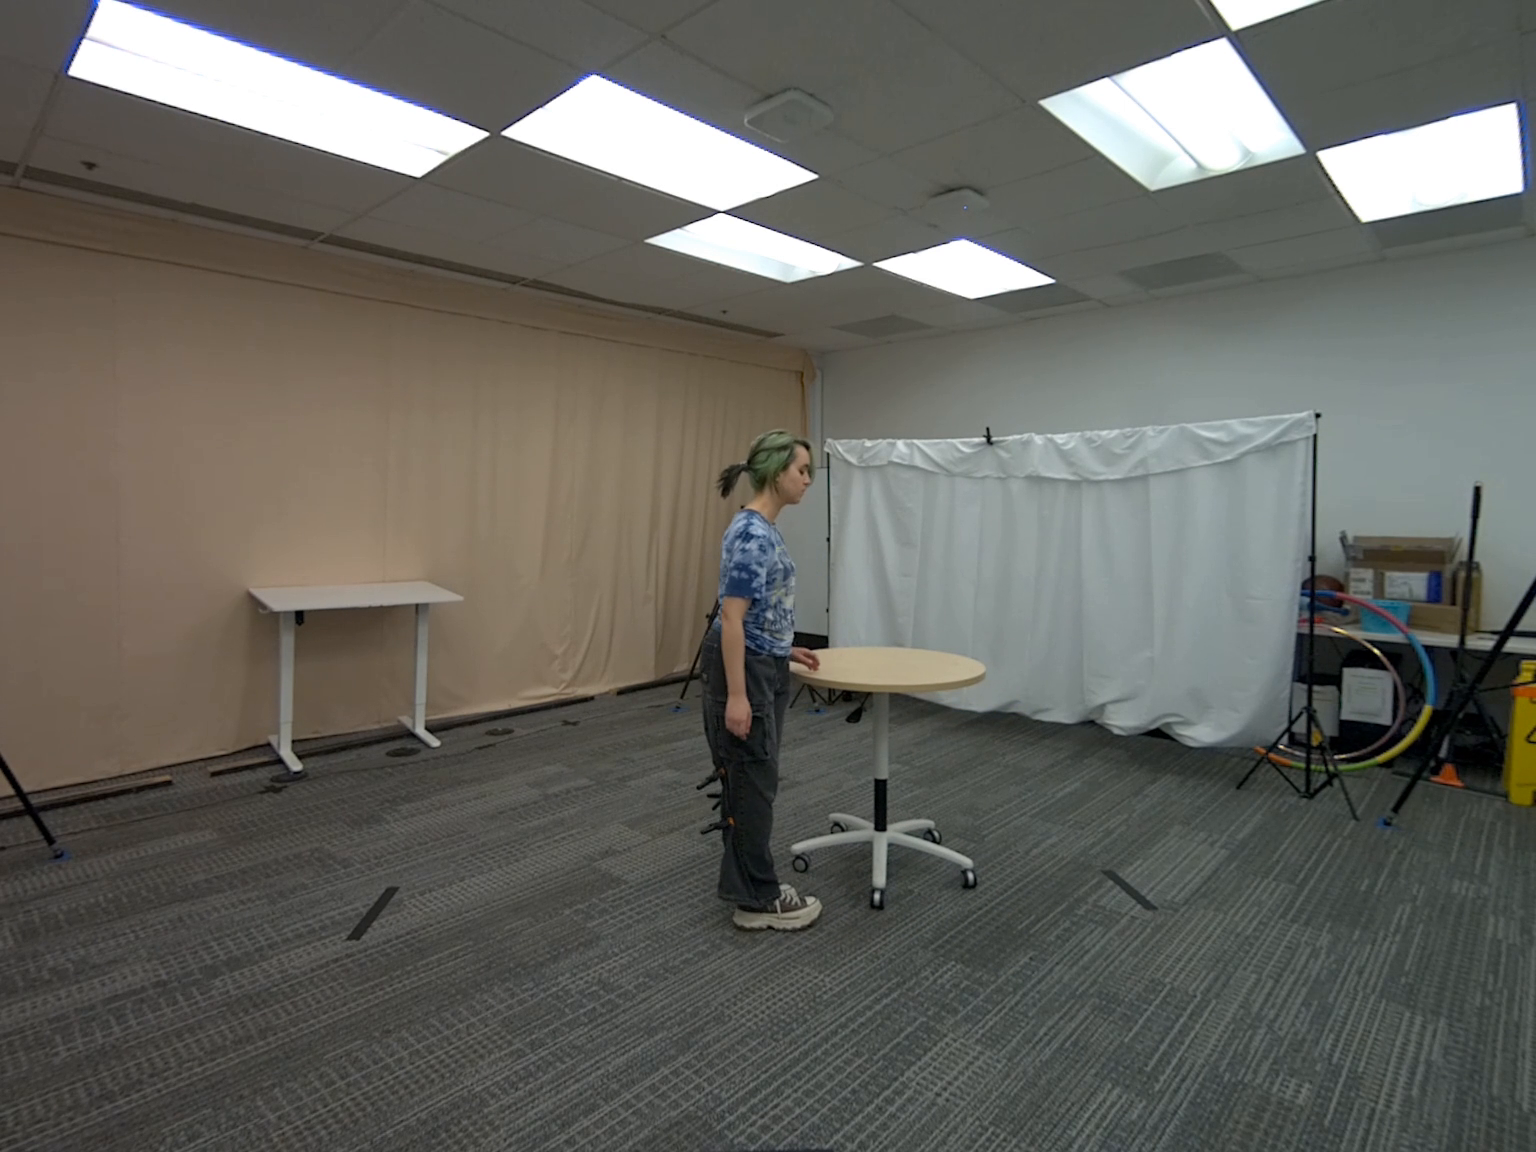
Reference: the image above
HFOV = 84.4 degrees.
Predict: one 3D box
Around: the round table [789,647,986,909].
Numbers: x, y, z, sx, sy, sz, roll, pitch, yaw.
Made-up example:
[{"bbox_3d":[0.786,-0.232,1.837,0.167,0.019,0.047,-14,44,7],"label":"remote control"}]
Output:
[{"bbox_3d":[0.436,0.730,3.236,0.763,0.792,0.766,0,3,-2],"label":"round table"}]
